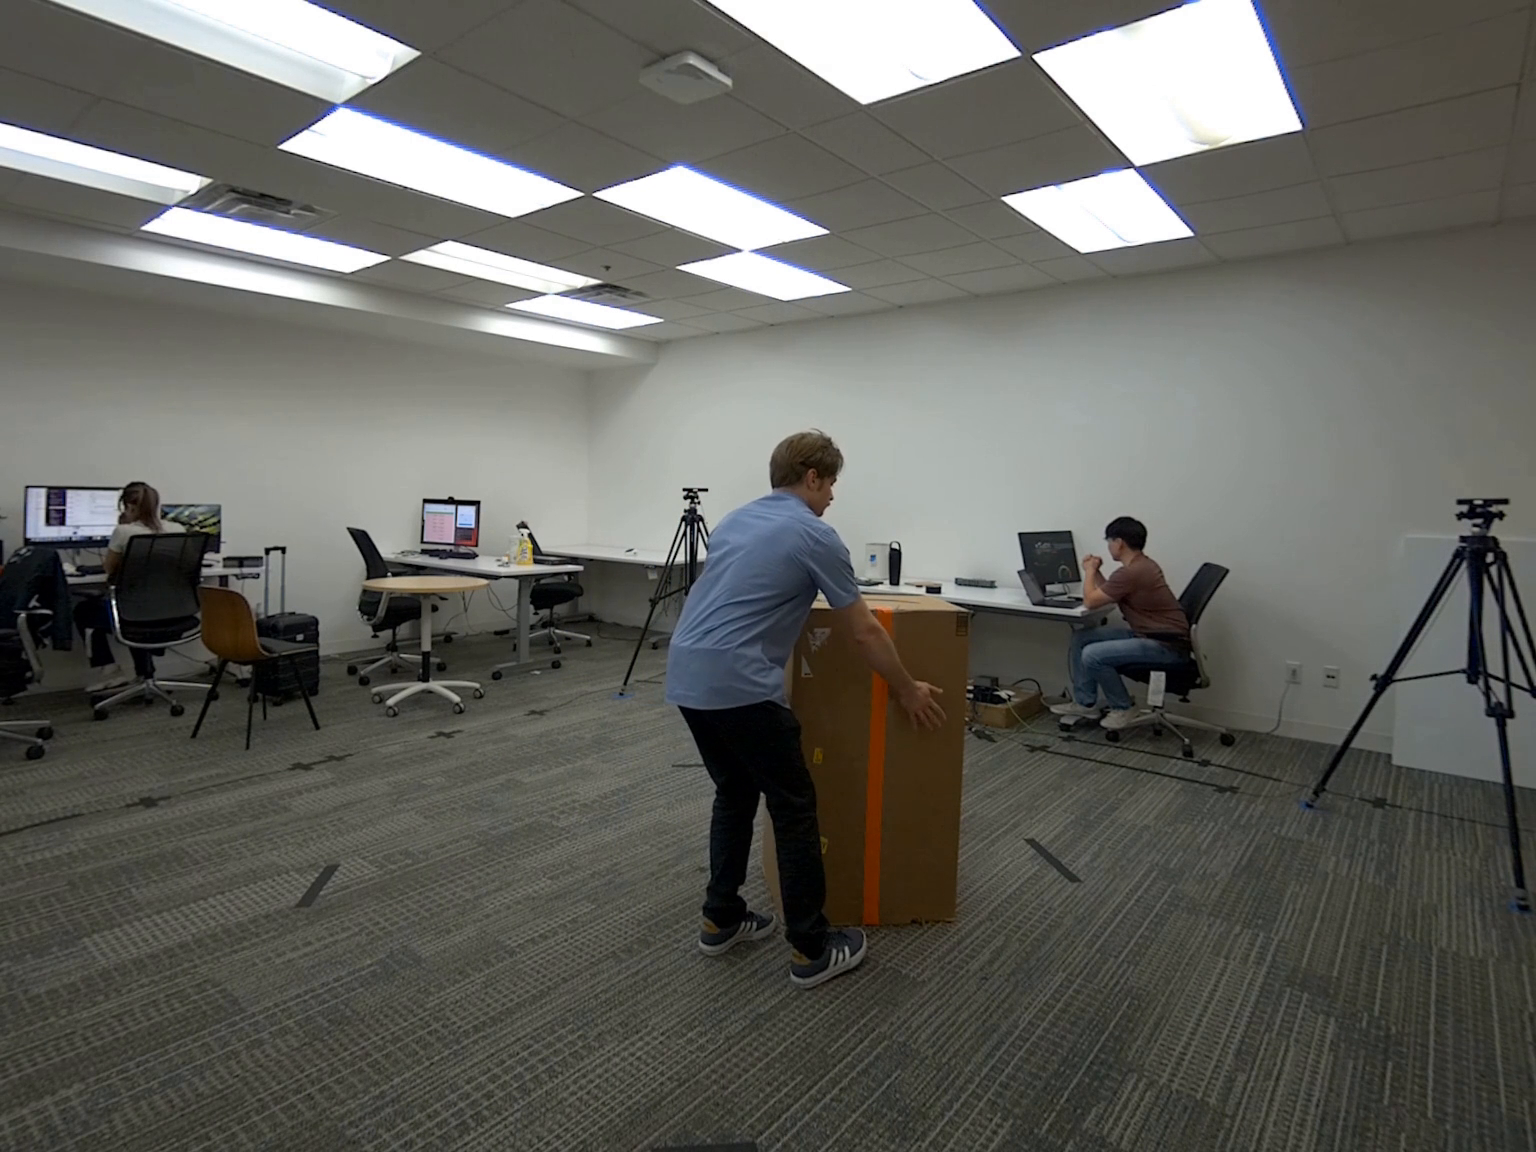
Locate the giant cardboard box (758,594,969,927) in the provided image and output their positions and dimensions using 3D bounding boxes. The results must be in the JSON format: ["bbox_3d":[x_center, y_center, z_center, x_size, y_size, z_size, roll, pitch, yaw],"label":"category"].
[{"bbox_3d":[0.313,0.591,2.922,0.574,1.023,0.430,2,3,-7],"label":"giant cardboard box"}]
